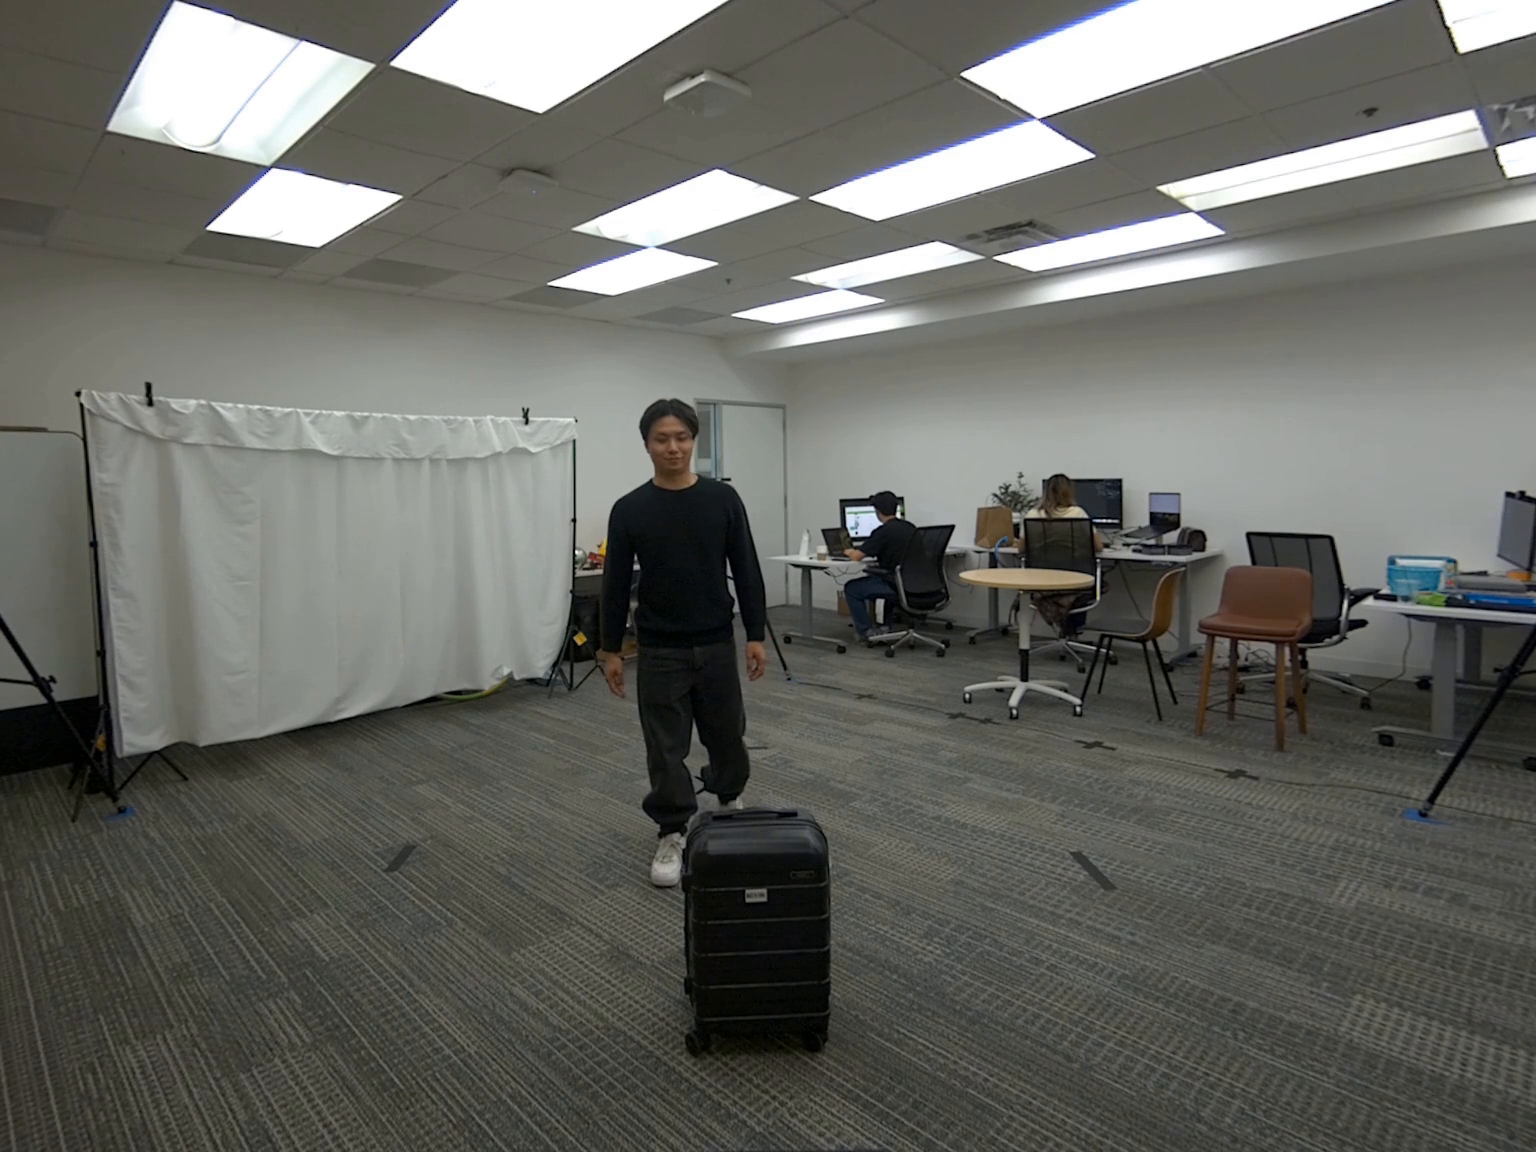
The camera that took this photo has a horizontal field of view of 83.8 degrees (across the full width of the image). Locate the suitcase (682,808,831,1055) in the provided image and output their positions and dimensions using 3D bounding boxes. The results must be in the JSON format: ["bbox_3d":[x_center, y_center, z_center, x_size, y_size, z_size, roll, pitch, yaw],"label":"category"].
[{"bbox_3d":[-0.020,0.875,2.172,0.374,0.547,0.250,-1,5,-3],"label":"suitcase"}]
